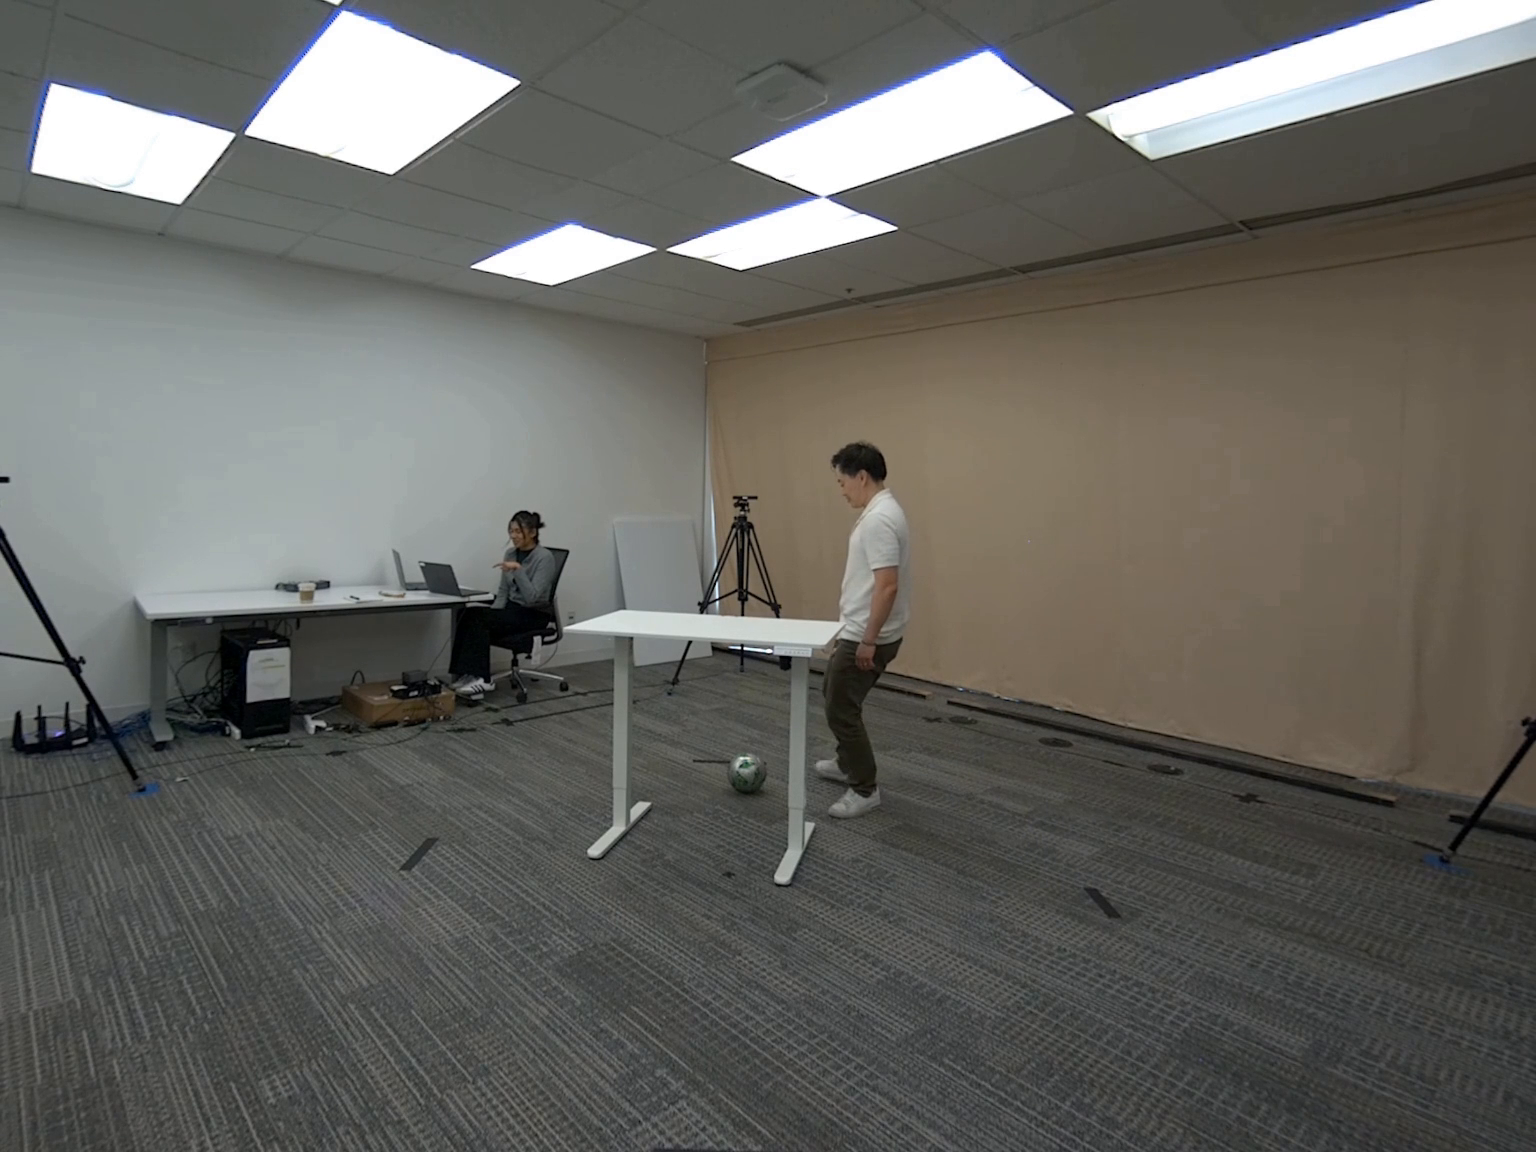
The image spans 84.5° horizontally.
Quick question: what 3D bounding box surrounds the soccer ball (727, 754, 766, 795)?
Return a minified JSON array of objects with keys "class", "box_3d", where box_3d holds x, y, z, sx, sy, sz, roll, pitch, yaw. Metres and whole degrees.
[{"class":"soccer ball","box_3d":[-0.111,0.929,3.990,0.187,0.187,0.188,1,4,-1]}]
